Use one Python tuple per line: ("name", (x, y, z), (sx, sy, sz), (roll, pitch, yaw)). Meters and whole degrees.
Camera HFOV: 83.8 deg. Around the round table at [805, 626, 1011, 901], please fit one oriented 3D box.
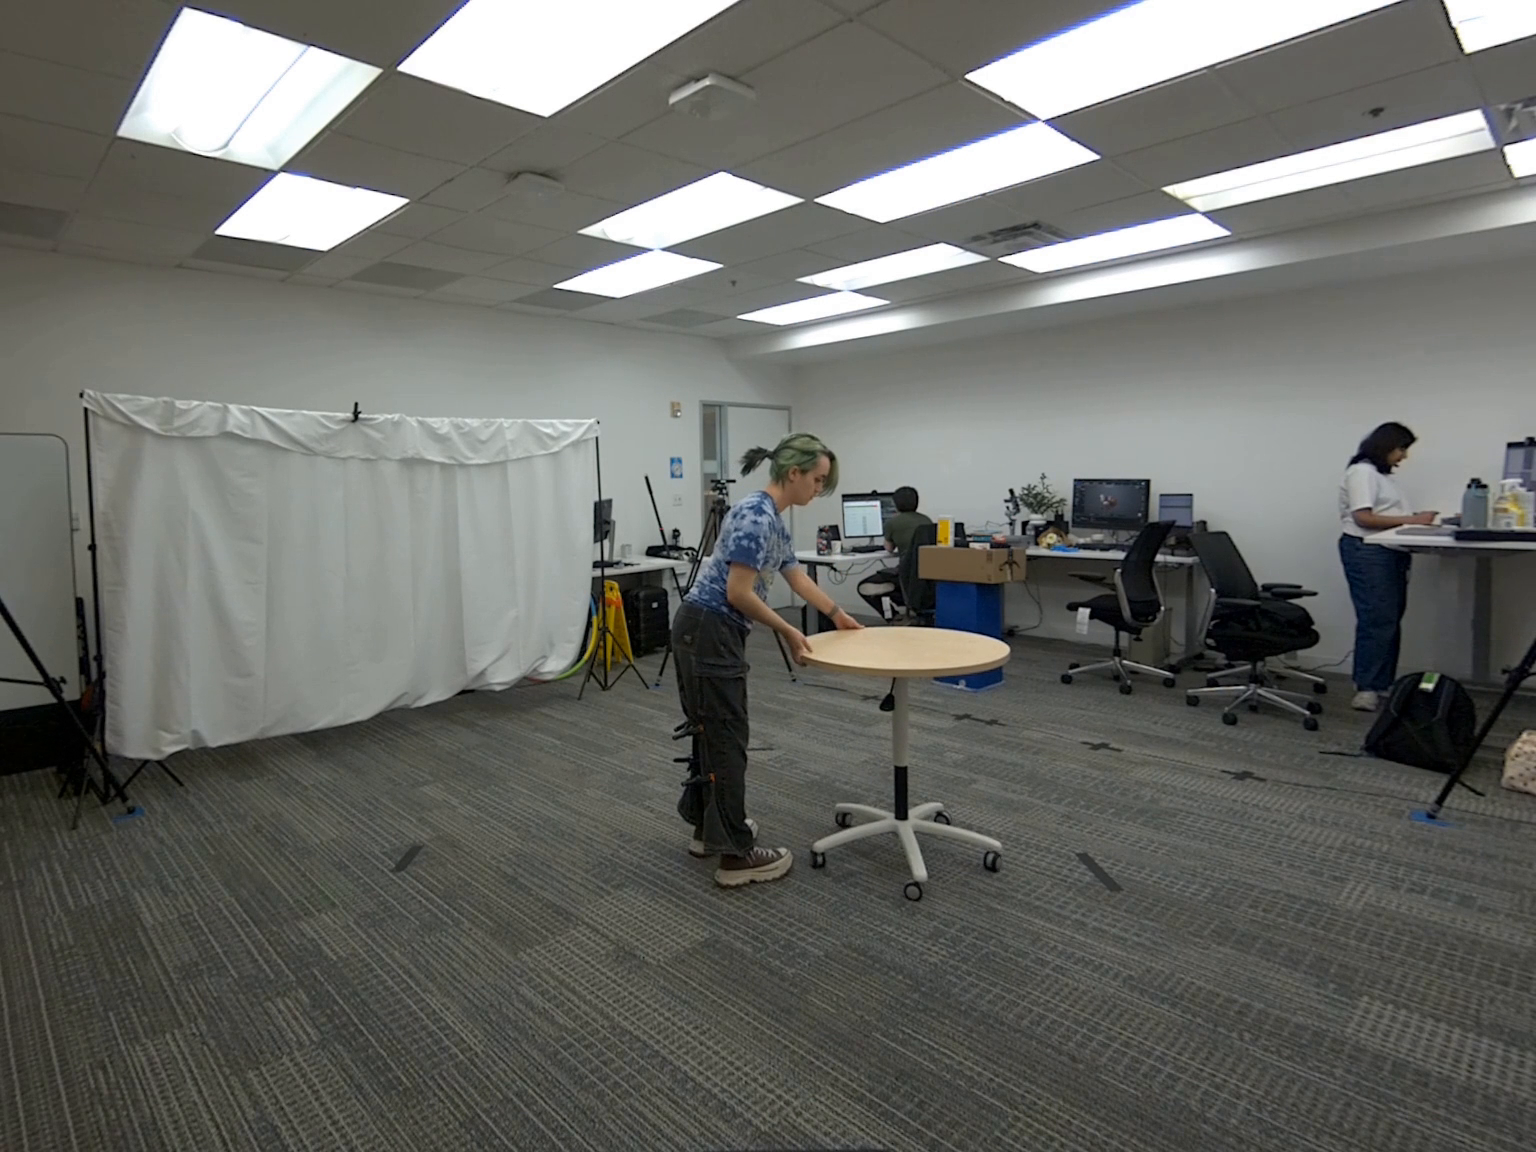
("round table", (0.488, 0.646, 3.127), (0.763, 0.791, 0.768), (-1, 5, -2))
